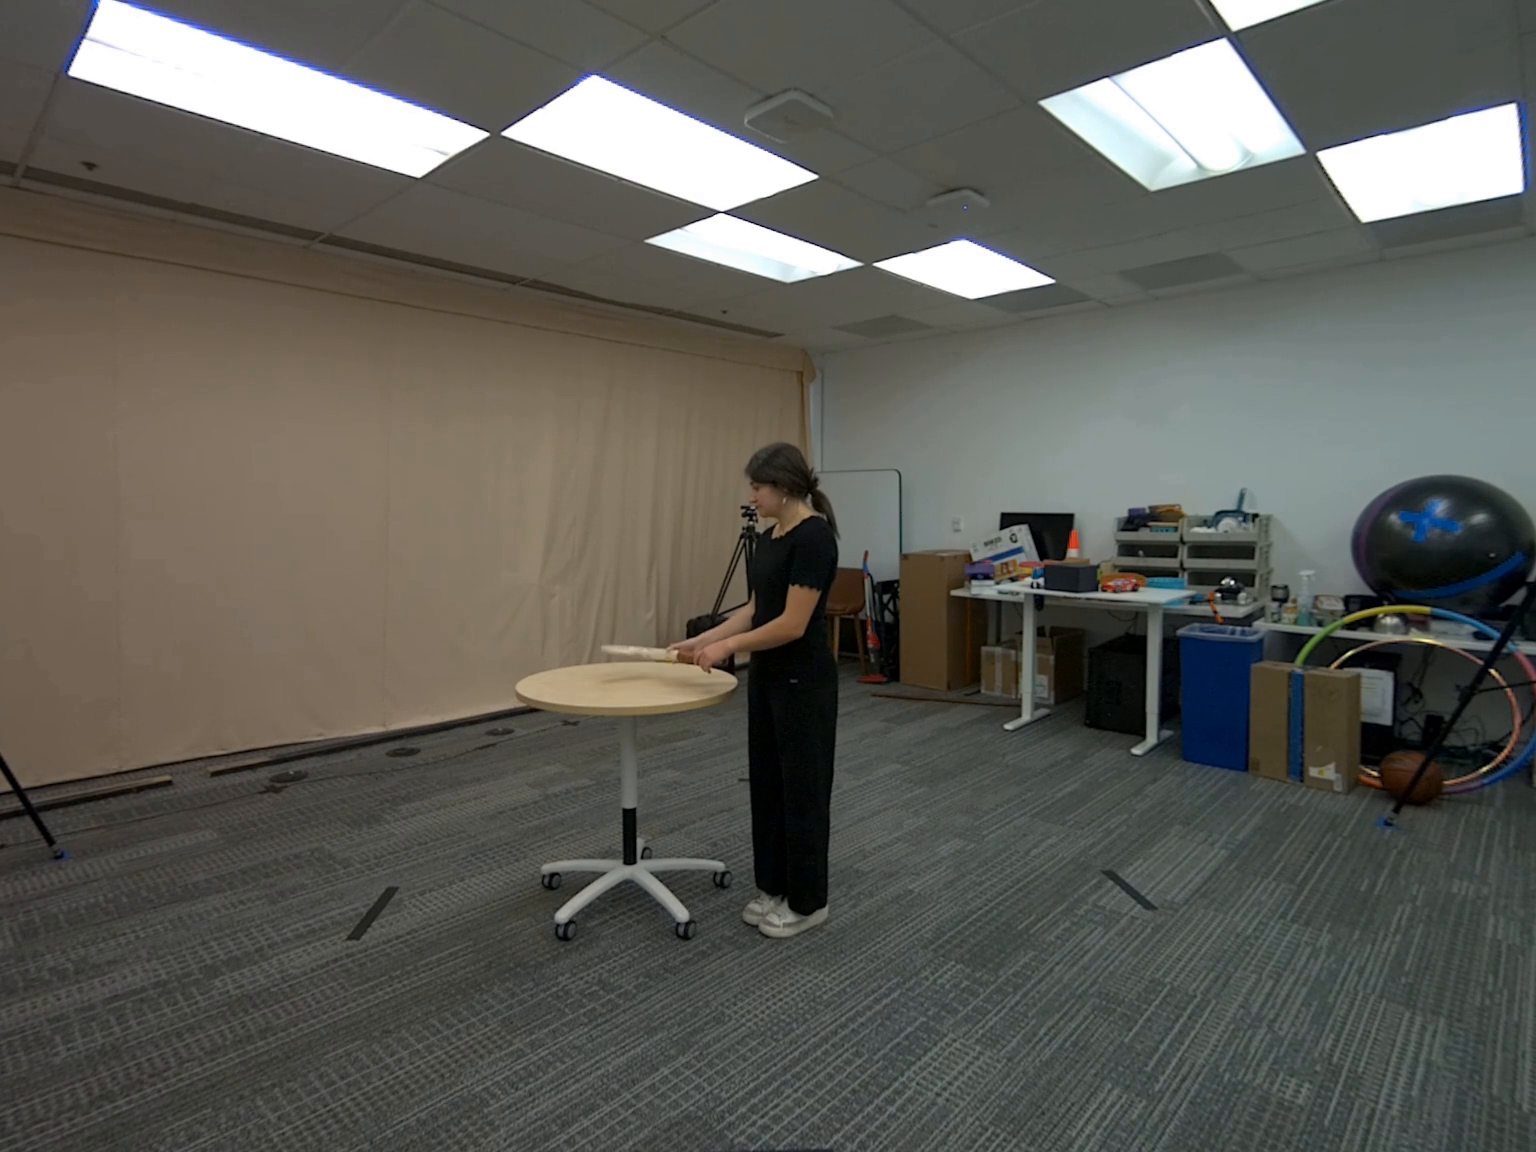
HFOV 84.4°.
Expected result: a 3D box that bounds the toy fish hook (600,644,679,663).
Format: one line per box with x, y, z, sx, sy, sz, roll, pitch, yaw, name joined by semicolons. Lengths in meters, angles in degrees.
-0.365;0.267;2.835;0.522;0.048;0.217;0;-4;38;toy fish hook
